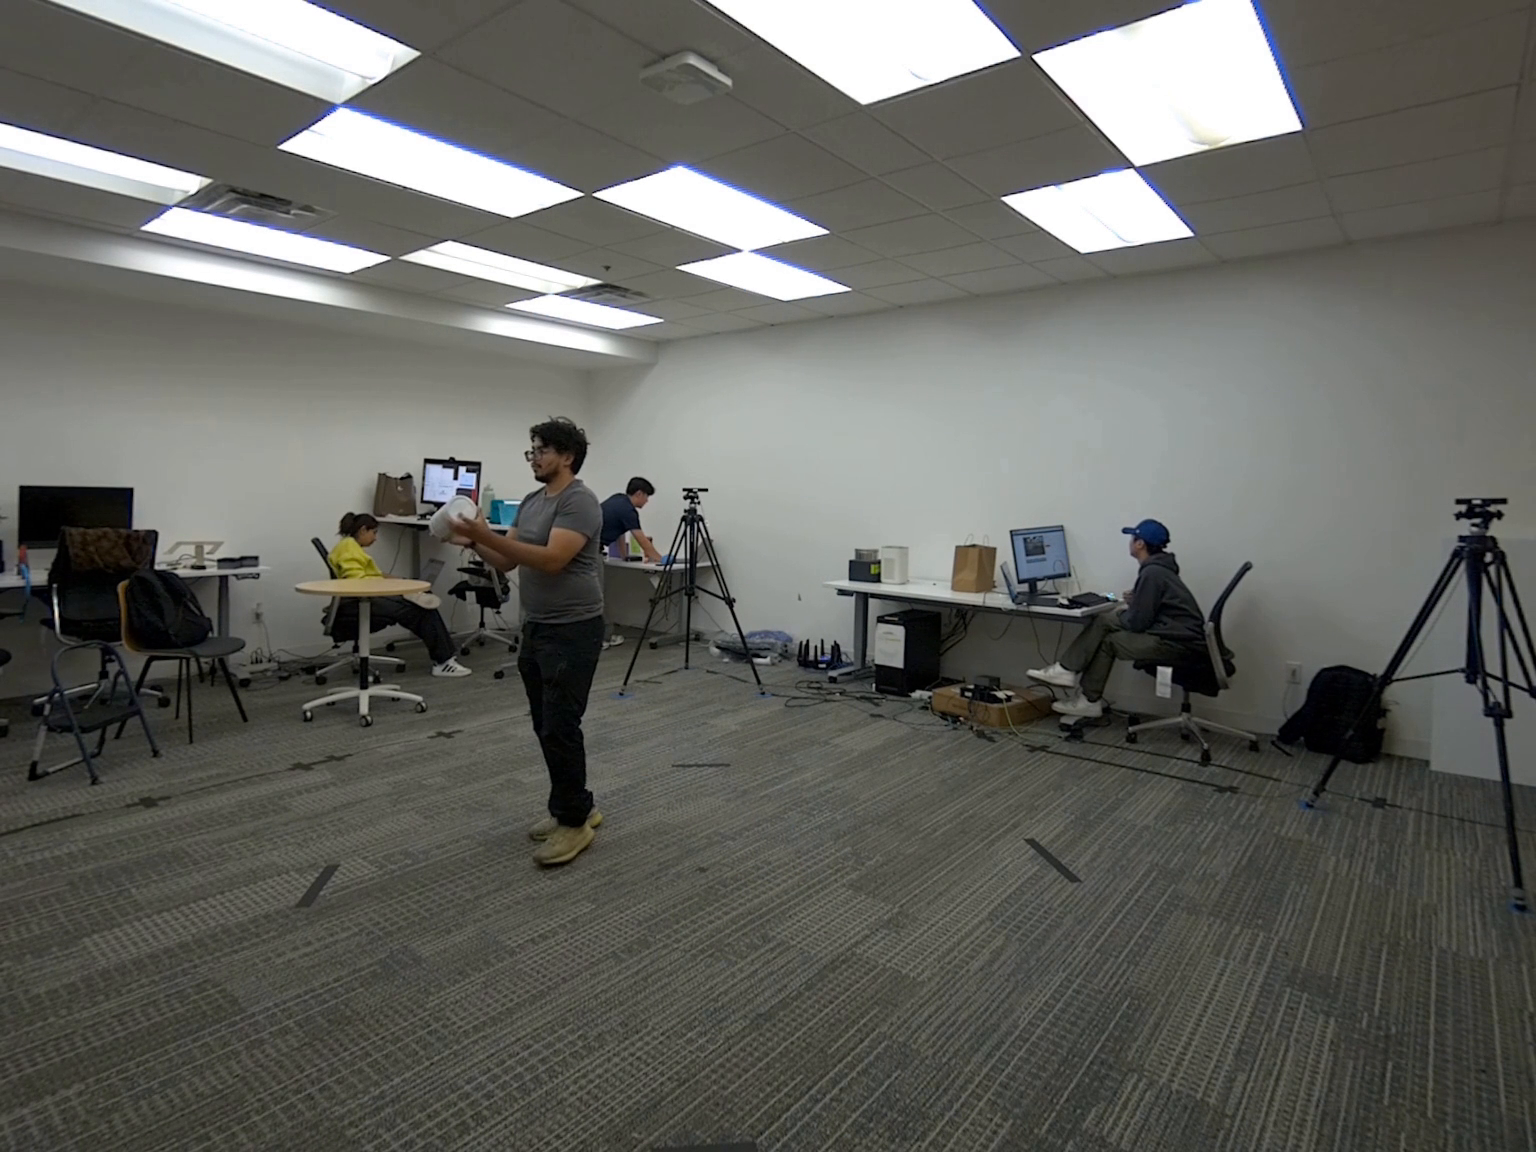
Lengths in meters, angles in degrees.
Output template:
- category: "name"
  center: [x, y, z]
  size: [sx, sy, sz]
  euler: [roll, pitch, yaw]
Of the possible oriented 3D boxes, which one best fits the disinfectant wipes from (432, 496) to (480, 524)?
- category: "disinfectant wipes"
  center: [-1.162, -0.213, 3.097]
  size: [0.114, 0.119, 0.221]
  euler: [-2, -13, -36]
